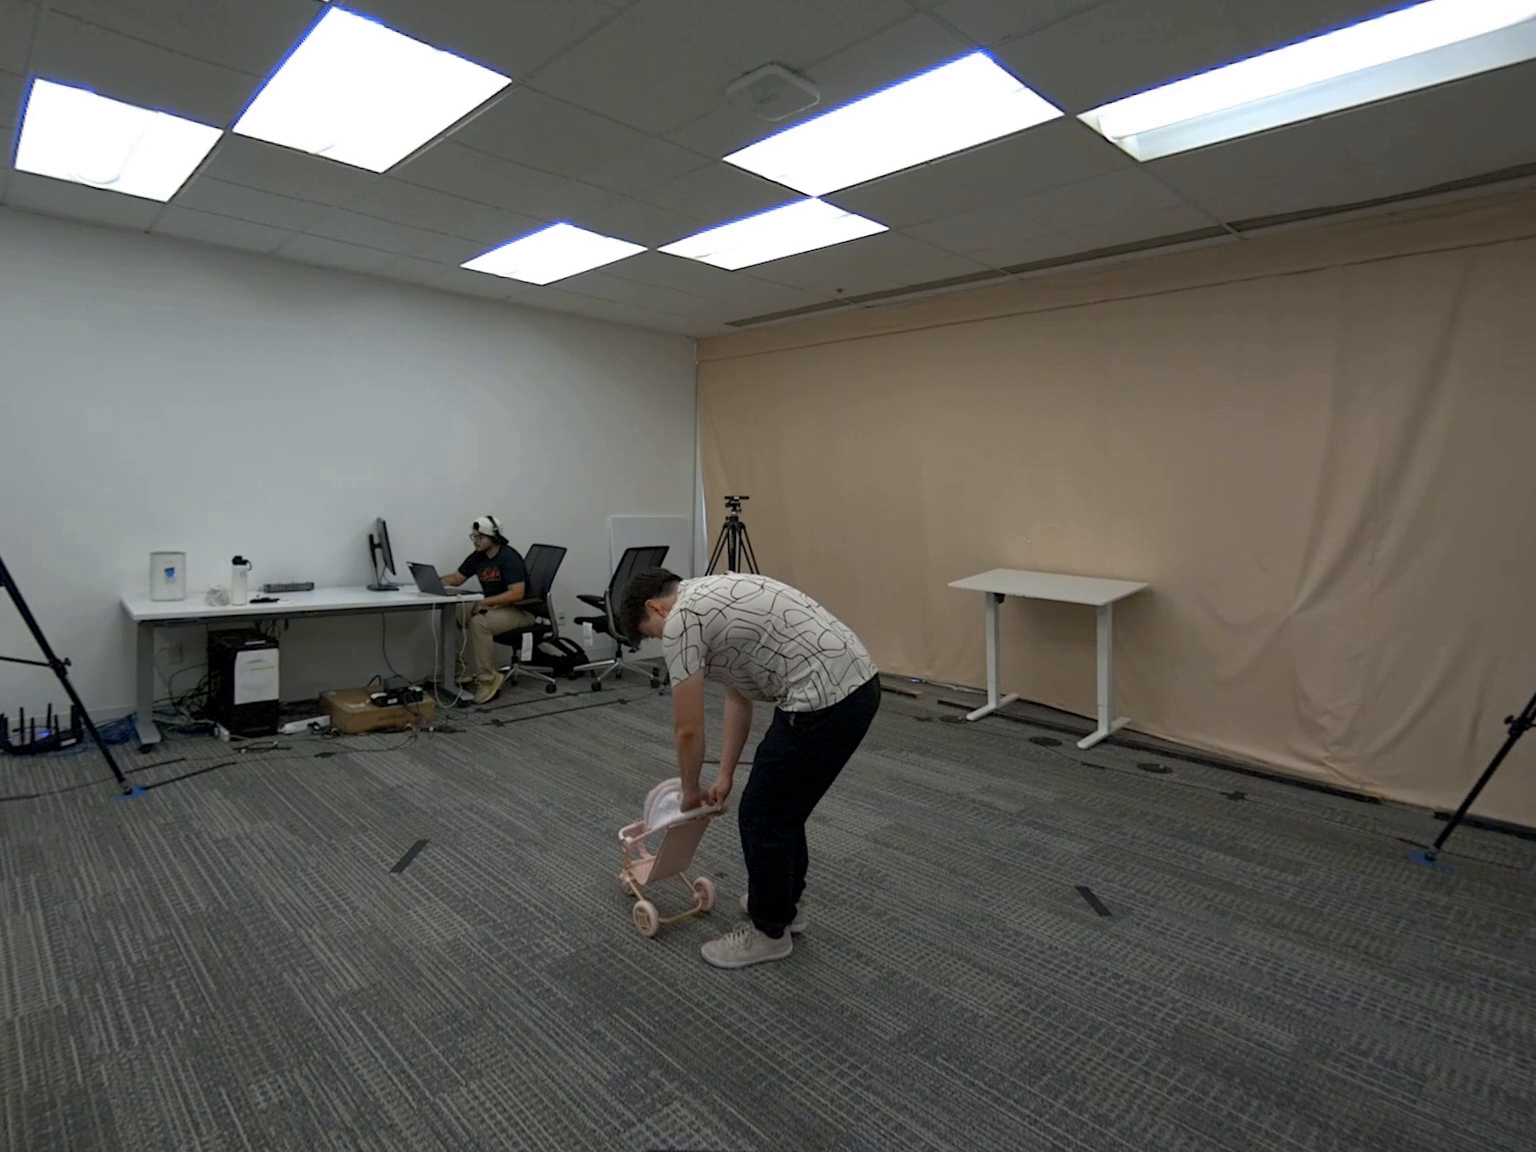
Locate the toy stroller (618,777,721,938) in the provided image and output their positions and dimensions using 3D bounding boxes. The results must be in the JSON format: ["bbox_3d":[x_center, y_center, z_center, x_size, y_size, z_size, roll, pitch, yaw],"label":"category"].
[{"bbox_3d":[-0.344,0.902,2.784,0.275,0.530,0.352,-1,21,-40],"label":"toy stroller"}]
